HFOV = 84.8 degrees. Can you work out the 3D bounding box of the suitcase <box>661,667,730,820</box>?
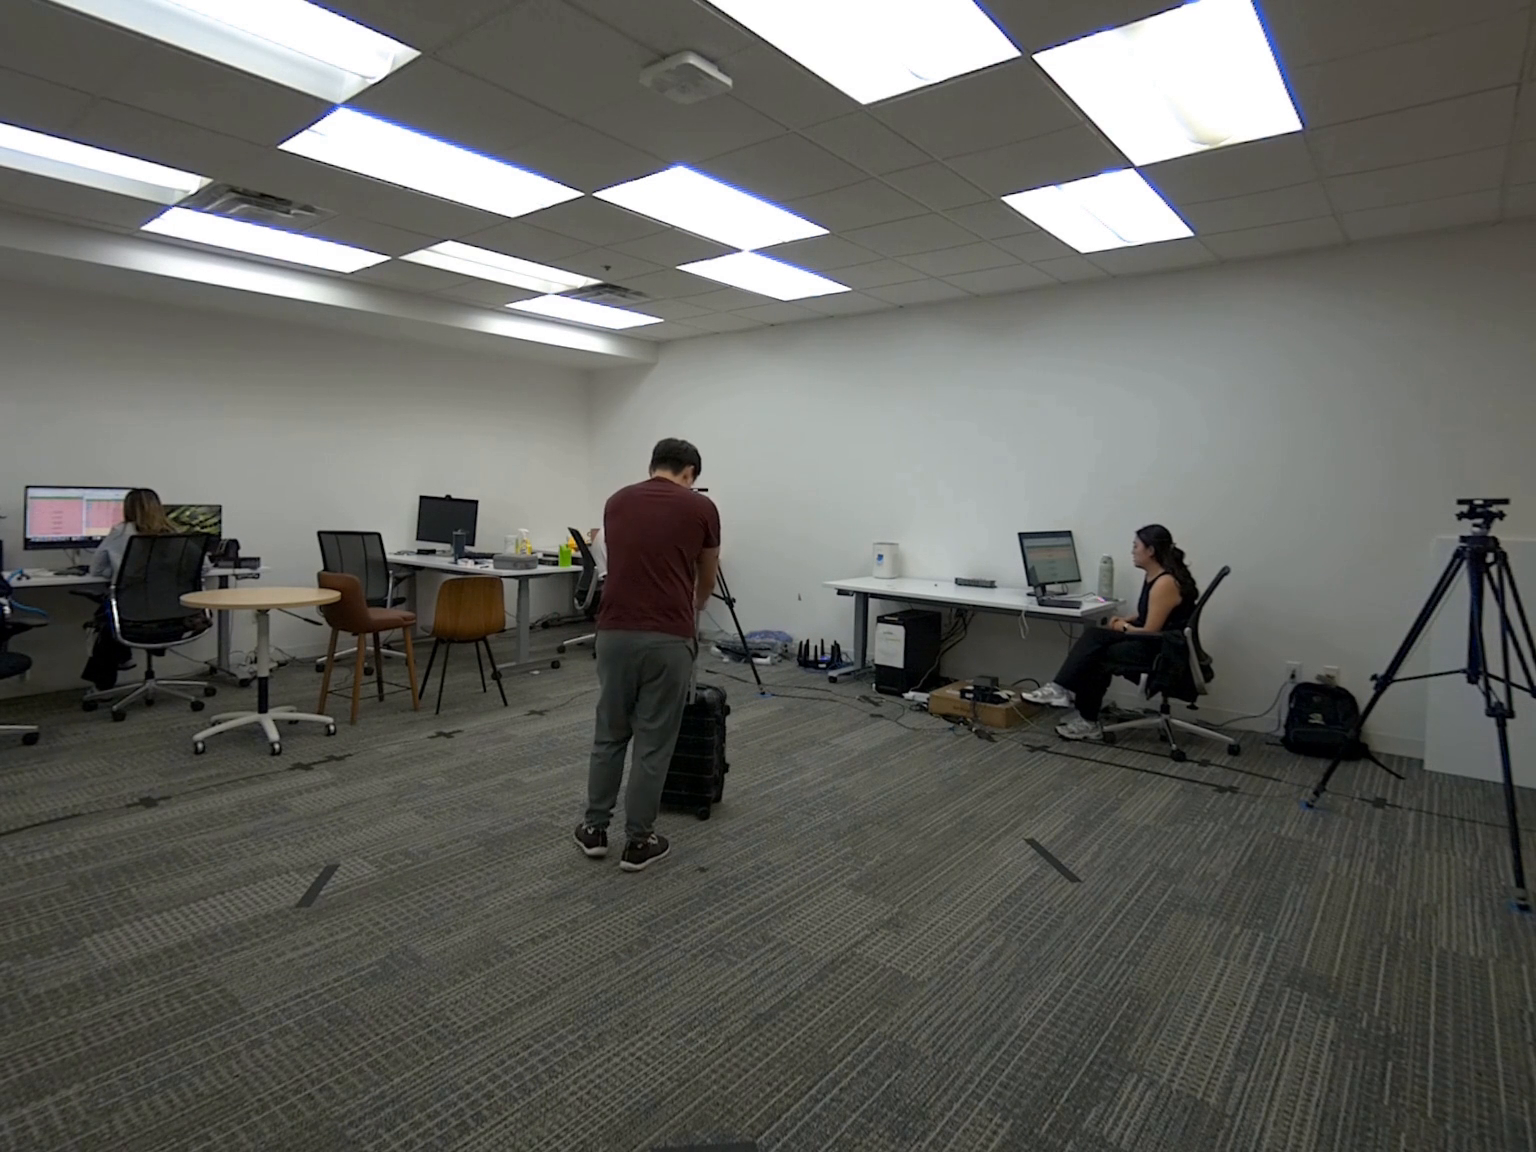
[{"bbox_3d":[-0.373,0.533,3.725,0.390,0.978,0.253,3,0,13],"label":"suitcase"}]
